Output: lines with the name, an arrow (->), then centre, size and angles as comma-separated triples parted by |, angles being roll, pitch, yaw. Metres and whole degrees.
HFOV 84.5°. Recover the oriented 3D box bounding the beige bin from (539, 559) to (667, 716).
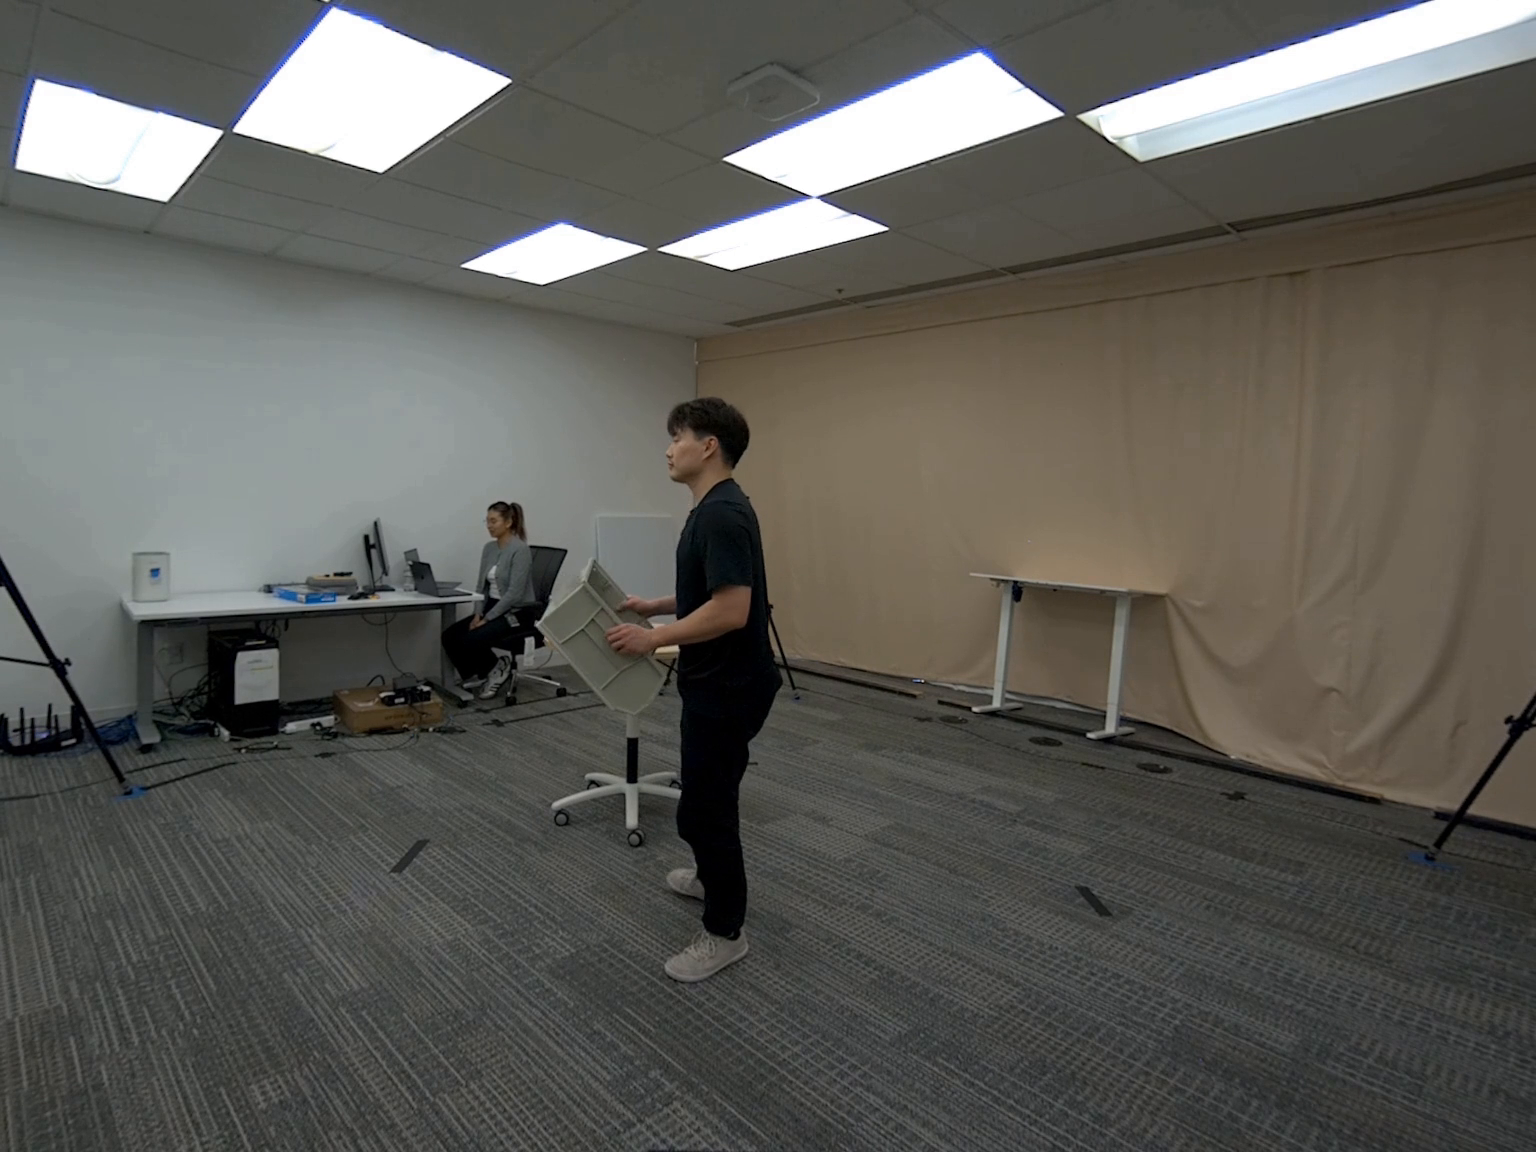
beige bin -> -0.460, 0.172, 2.453 | 0.189, 0.373, 0.427 | -41, 12, 0
